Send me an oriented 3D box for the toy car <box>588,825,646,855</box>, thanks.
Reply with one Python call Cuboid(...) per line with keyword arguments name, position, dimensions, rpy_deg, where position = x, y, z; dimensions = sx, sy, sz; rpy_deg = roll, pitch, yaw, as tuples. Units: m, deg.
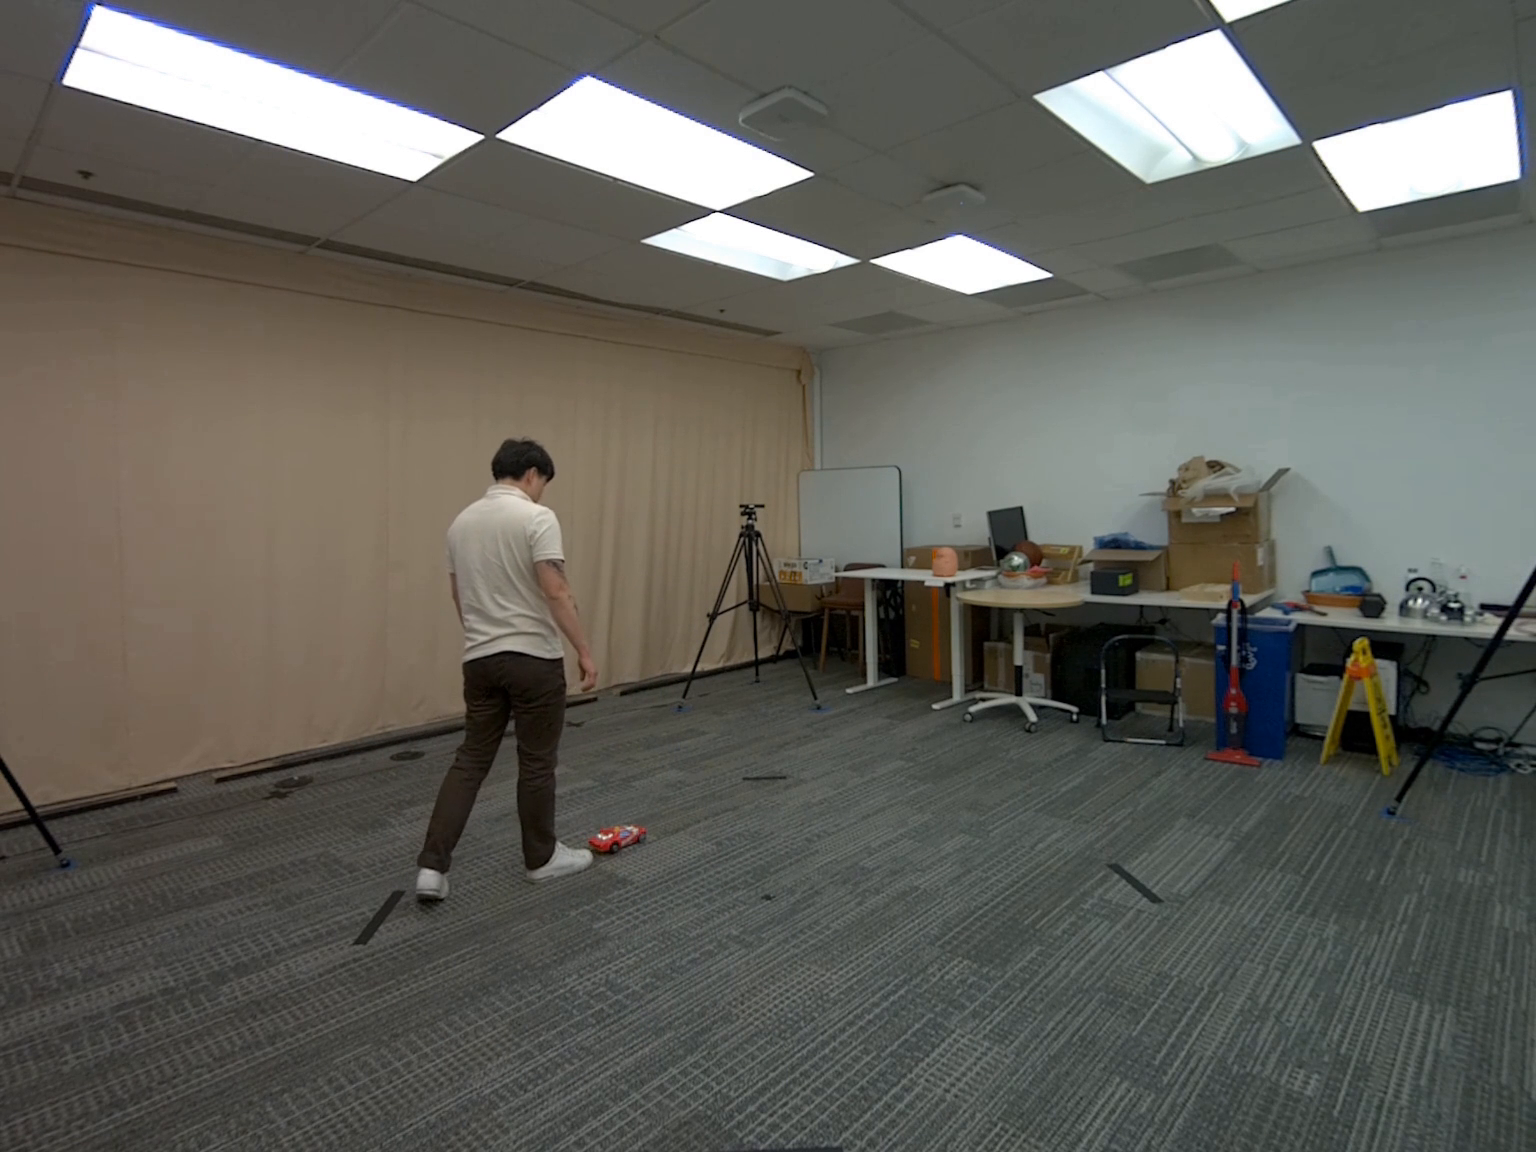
Cuboid(name="toy car", position=(-0.627, 1.084, 3.466), dimensions=(0.134, 0.083, 0.246), rpy_deg=(3, -5, 45))
